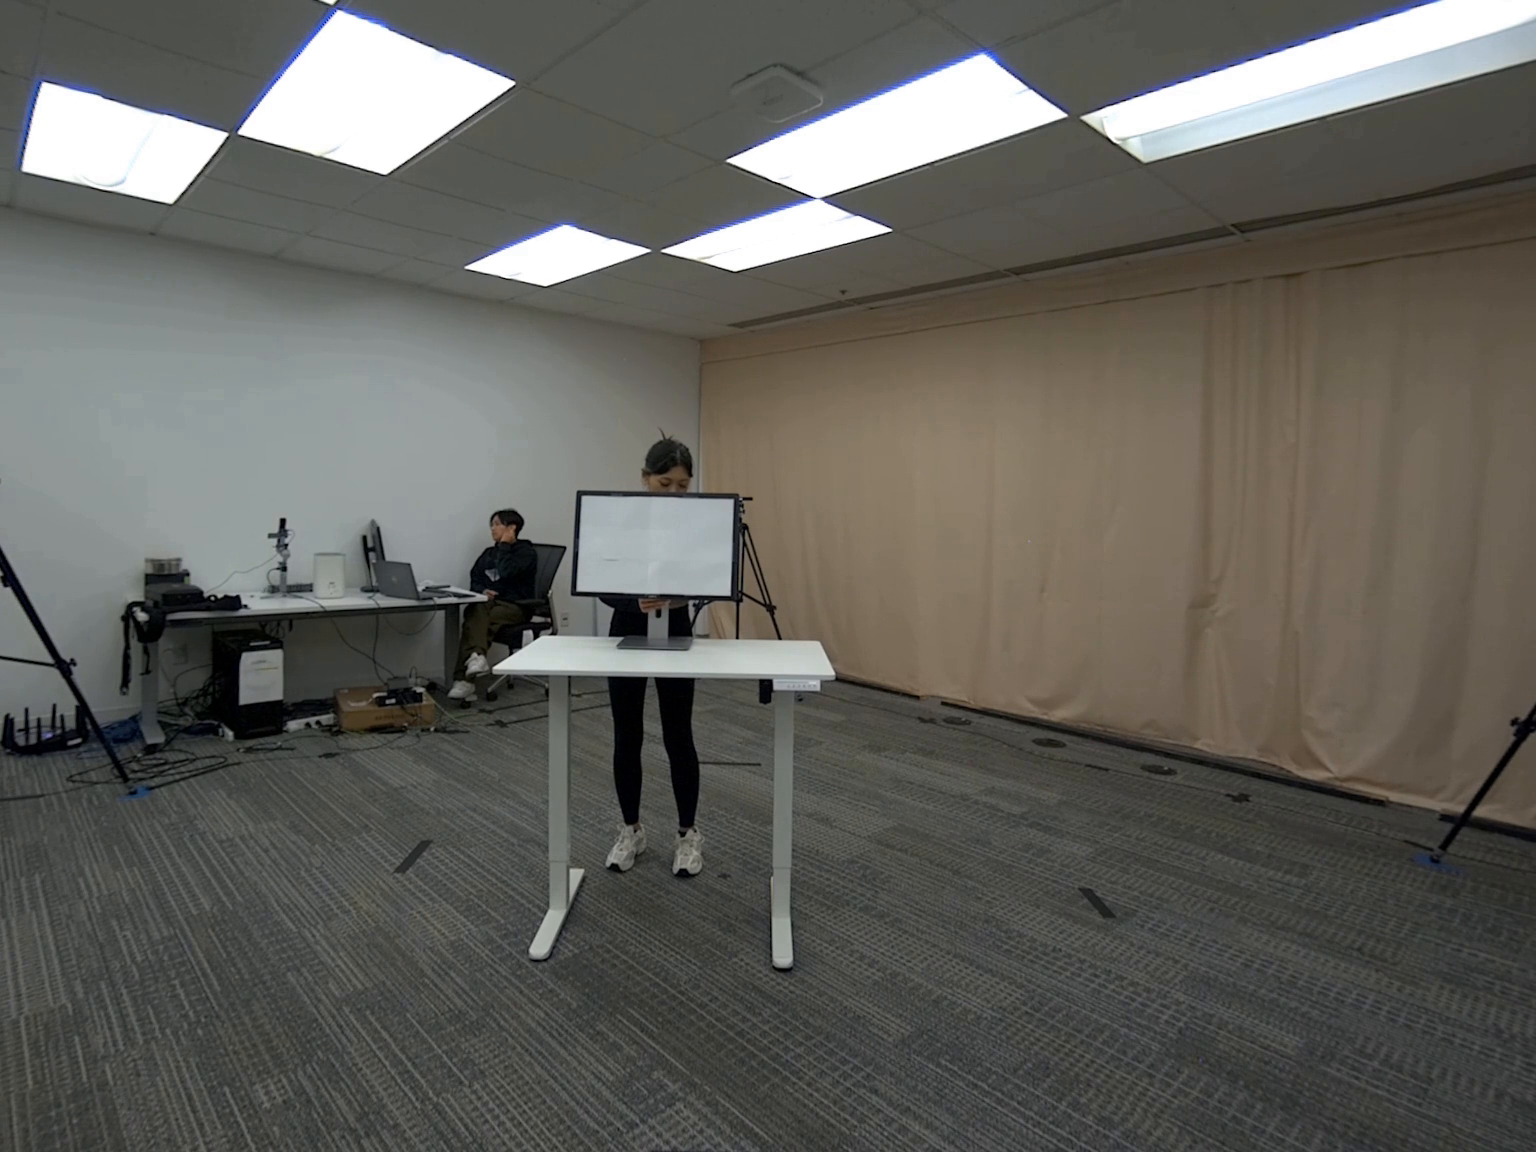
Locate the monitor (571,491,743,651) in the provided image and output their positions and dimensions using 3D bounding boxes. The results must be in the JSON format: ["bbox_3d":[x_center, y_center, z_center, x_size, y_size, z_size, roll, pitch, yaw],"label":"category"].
[{"bbox_3d":[-0.379,-0.013,2.883,0.540,0.521,0.187,0,5,2],"label":"monitor"}]
